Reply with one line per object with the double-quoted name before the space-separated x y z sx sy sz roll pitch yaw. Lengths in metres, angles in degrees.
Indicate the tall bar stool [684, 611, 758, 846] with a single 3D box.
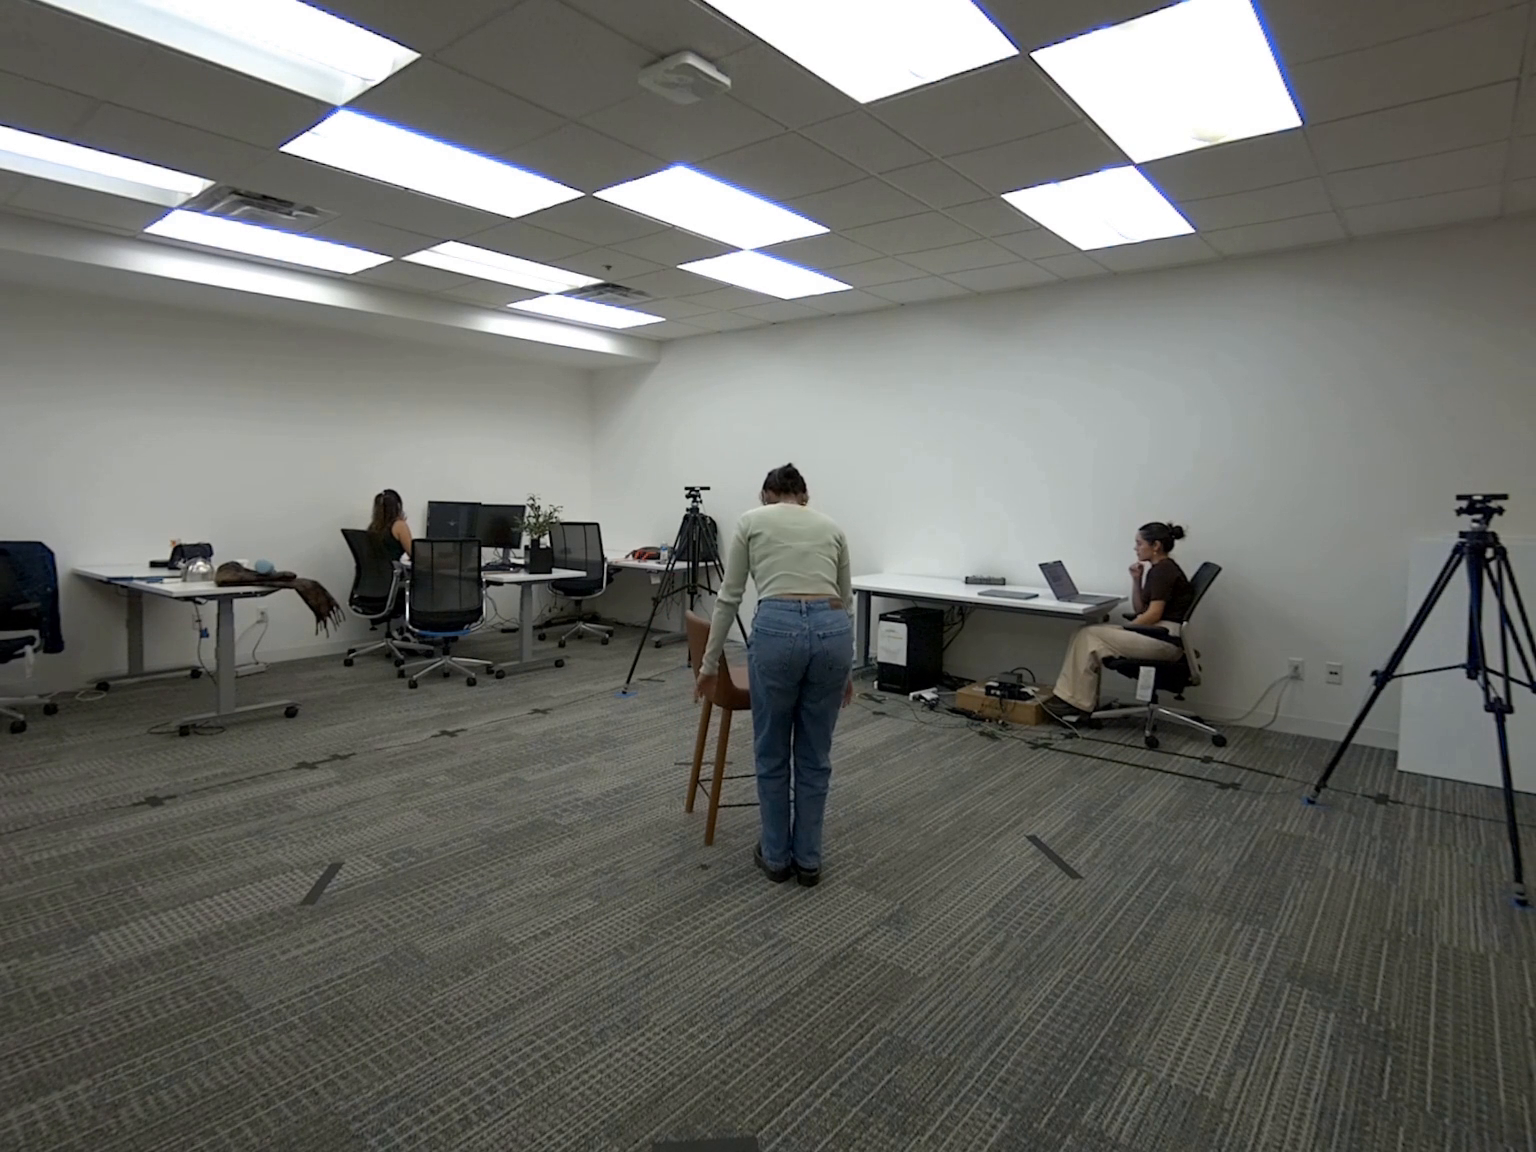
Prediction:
"tall bar stool" -0.094 0.592 3.517 0.460 0.887 0.466 -2 4 -17
